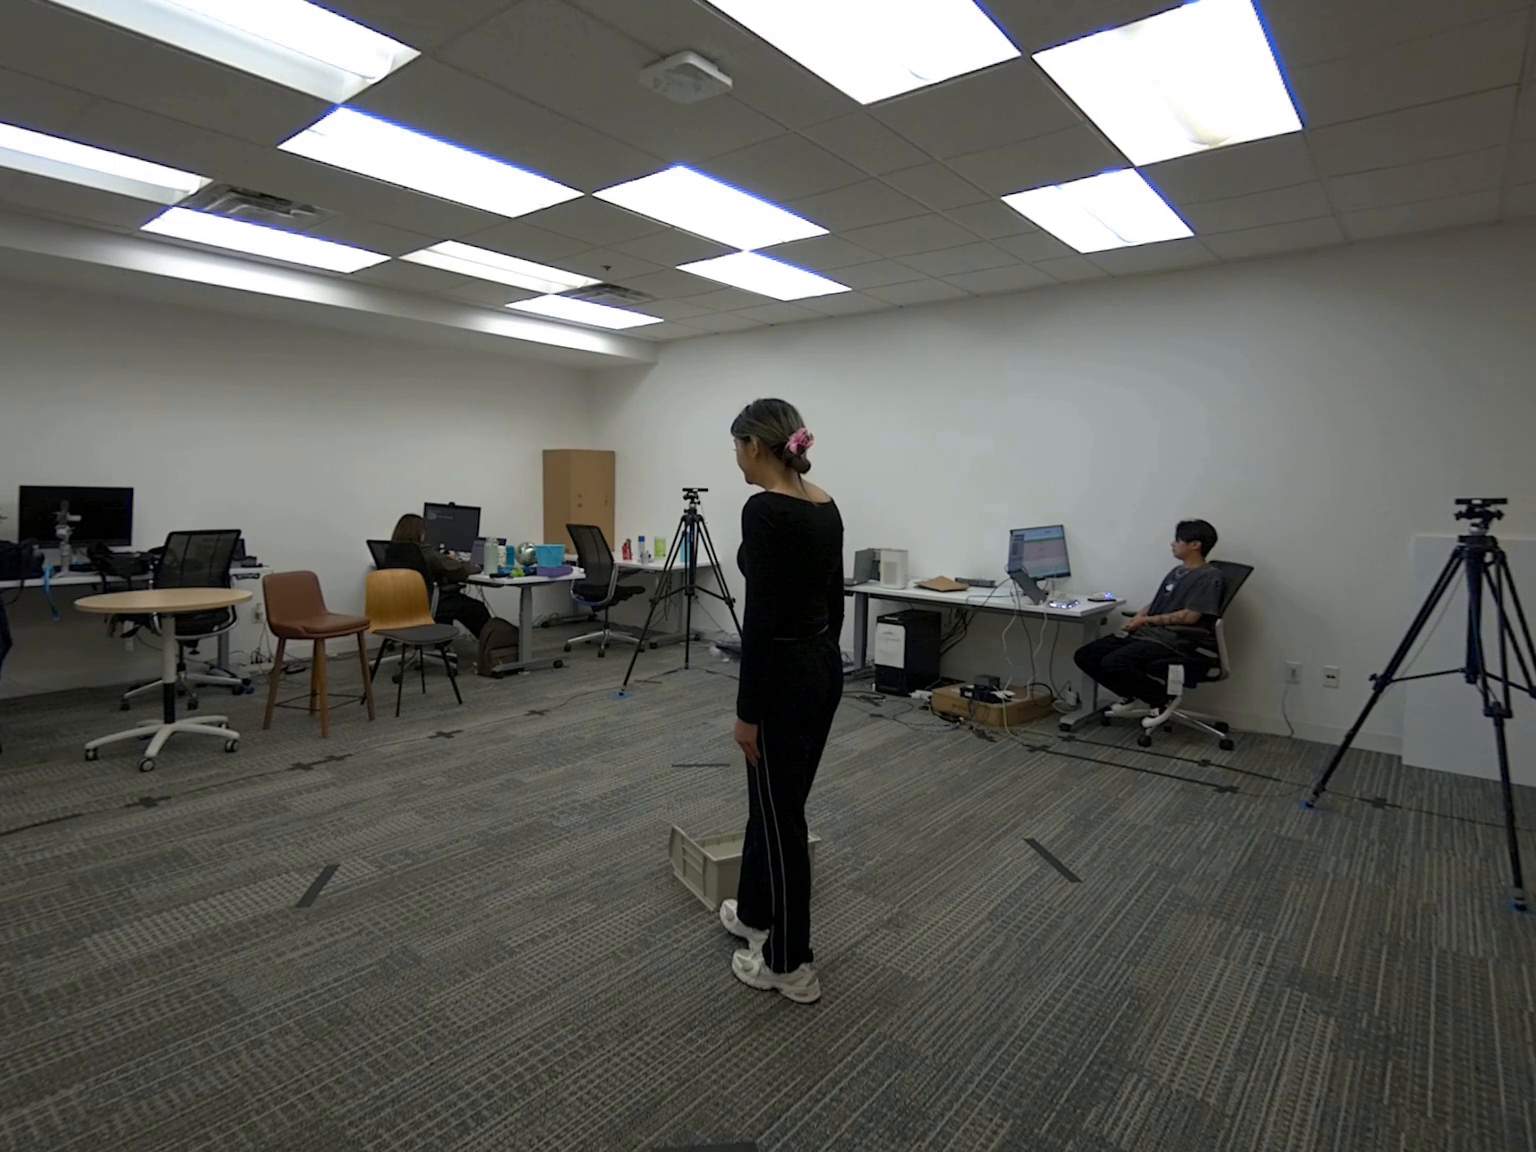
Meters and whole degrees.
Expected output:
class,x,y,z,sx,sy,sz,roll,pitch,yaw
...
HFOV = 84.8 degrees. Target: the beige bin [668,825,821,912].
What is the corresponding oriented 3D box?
class,x,y,z,sx,sy,sz,roll,pitch,yaw
beige bin,-0.104,0.990,3.034,0.411,0.188,0.389,-1,6,-29
